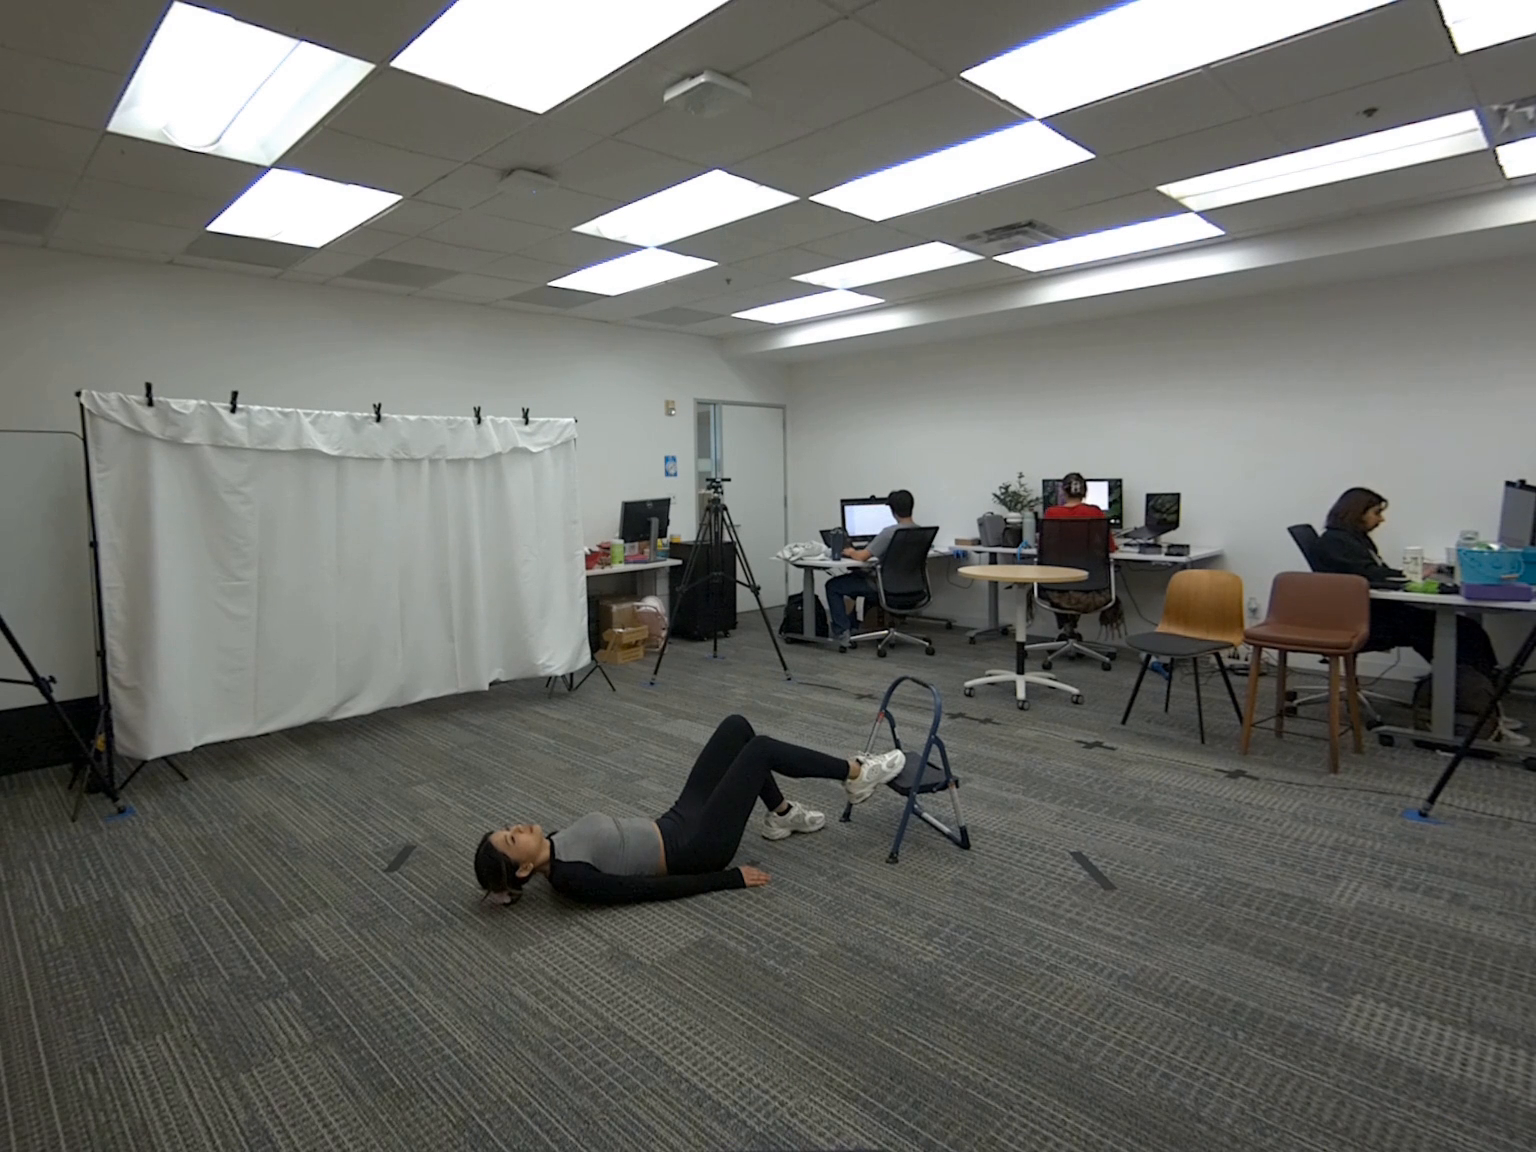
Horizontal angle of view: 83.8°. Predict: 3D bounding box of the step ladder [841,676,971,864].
[{"bbox_3d":[0.522,0.709,3.316,0.343,0.604,0.440,-3,5,-19],"label":"step ladder"}]
